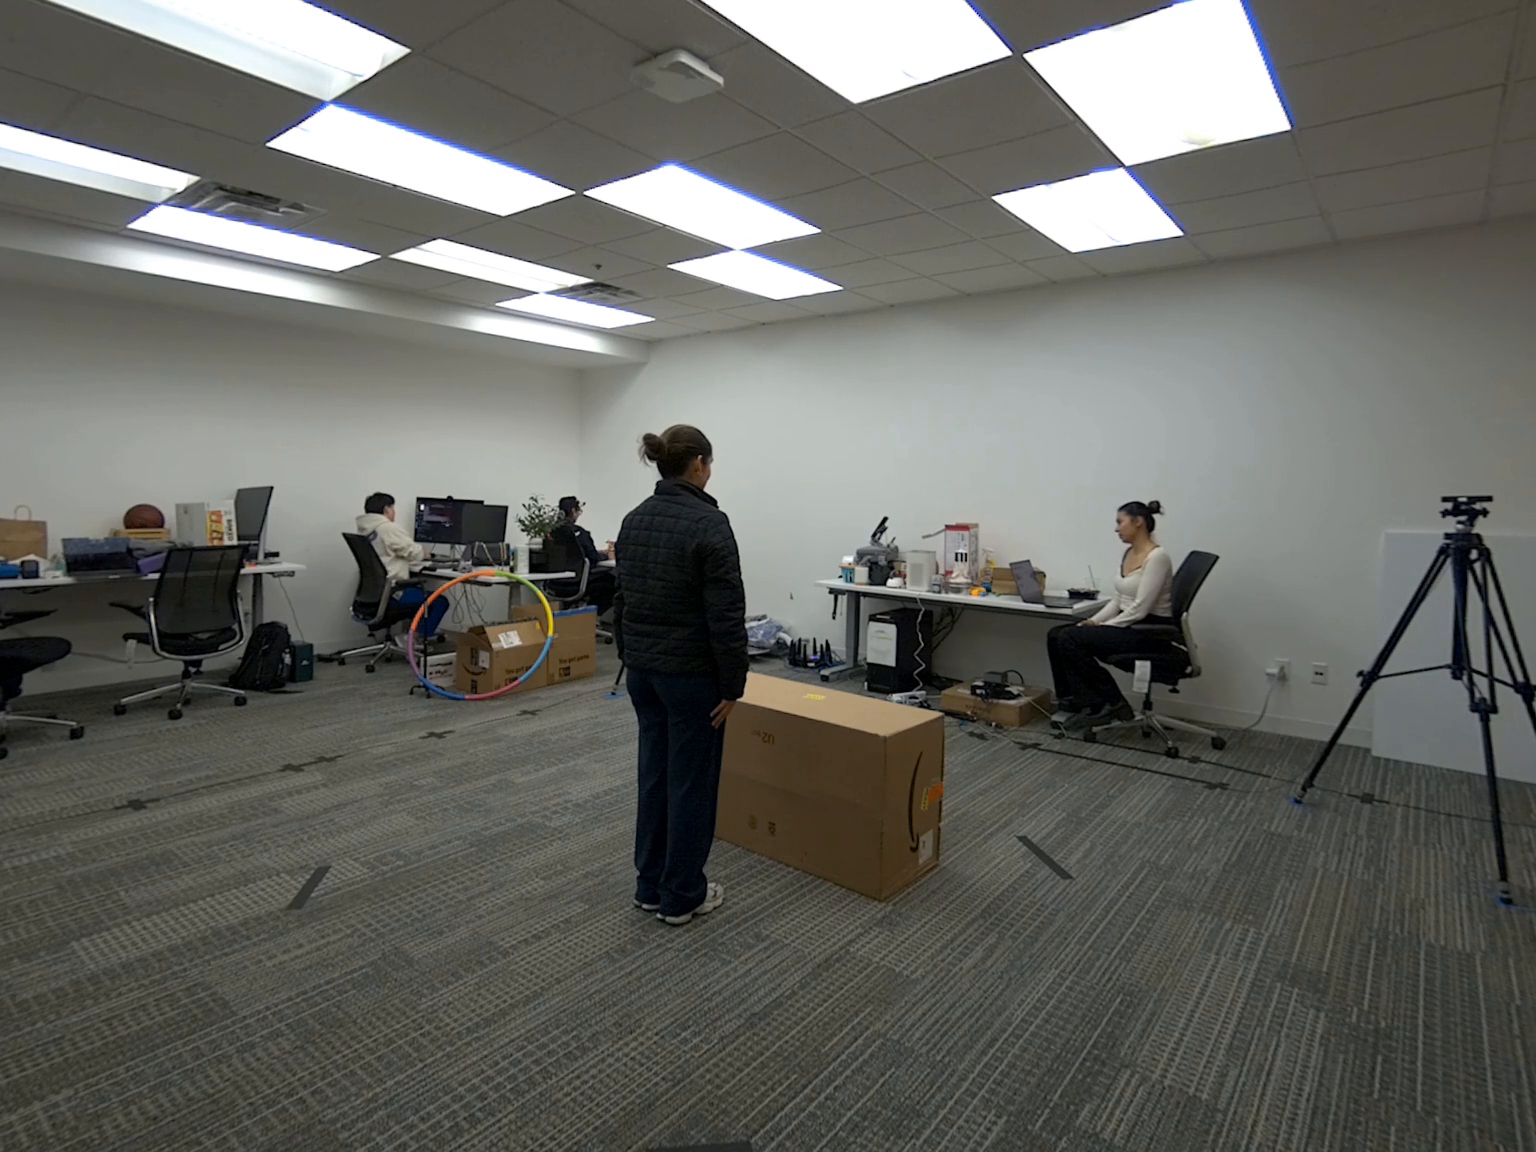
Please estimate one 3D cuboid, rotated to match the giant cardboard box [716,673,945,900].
[{"bbox_3d":[0.146,0.763,3.368,1.062,0.582,0.433,6,5,40],"label":"giant cardboard box"}]
